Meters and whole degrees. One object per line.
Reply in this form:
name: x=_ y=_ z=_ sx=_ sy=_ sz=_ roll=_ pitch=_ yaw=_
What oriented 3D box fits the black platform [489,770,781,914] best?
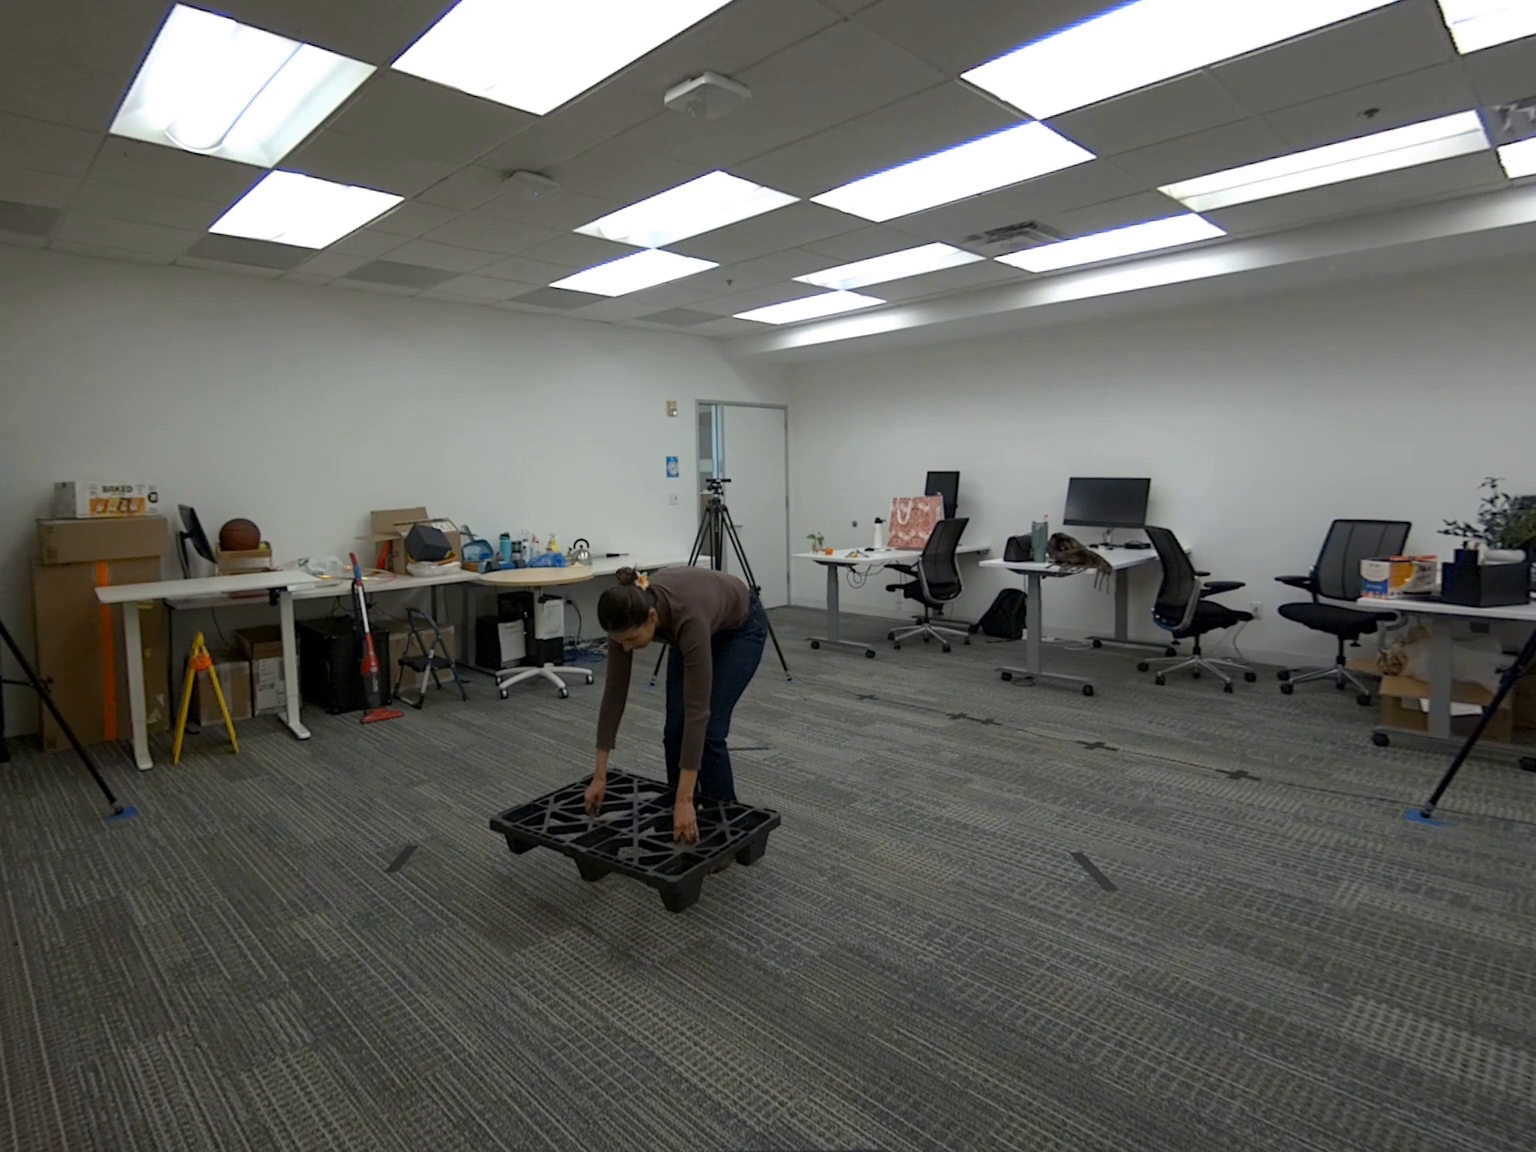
black platform: x=-0.443 y=0.874 z=2.881 sx=0.829 sy=0.142 sz=0.591 roll=5 pitch=8 yaw=34
